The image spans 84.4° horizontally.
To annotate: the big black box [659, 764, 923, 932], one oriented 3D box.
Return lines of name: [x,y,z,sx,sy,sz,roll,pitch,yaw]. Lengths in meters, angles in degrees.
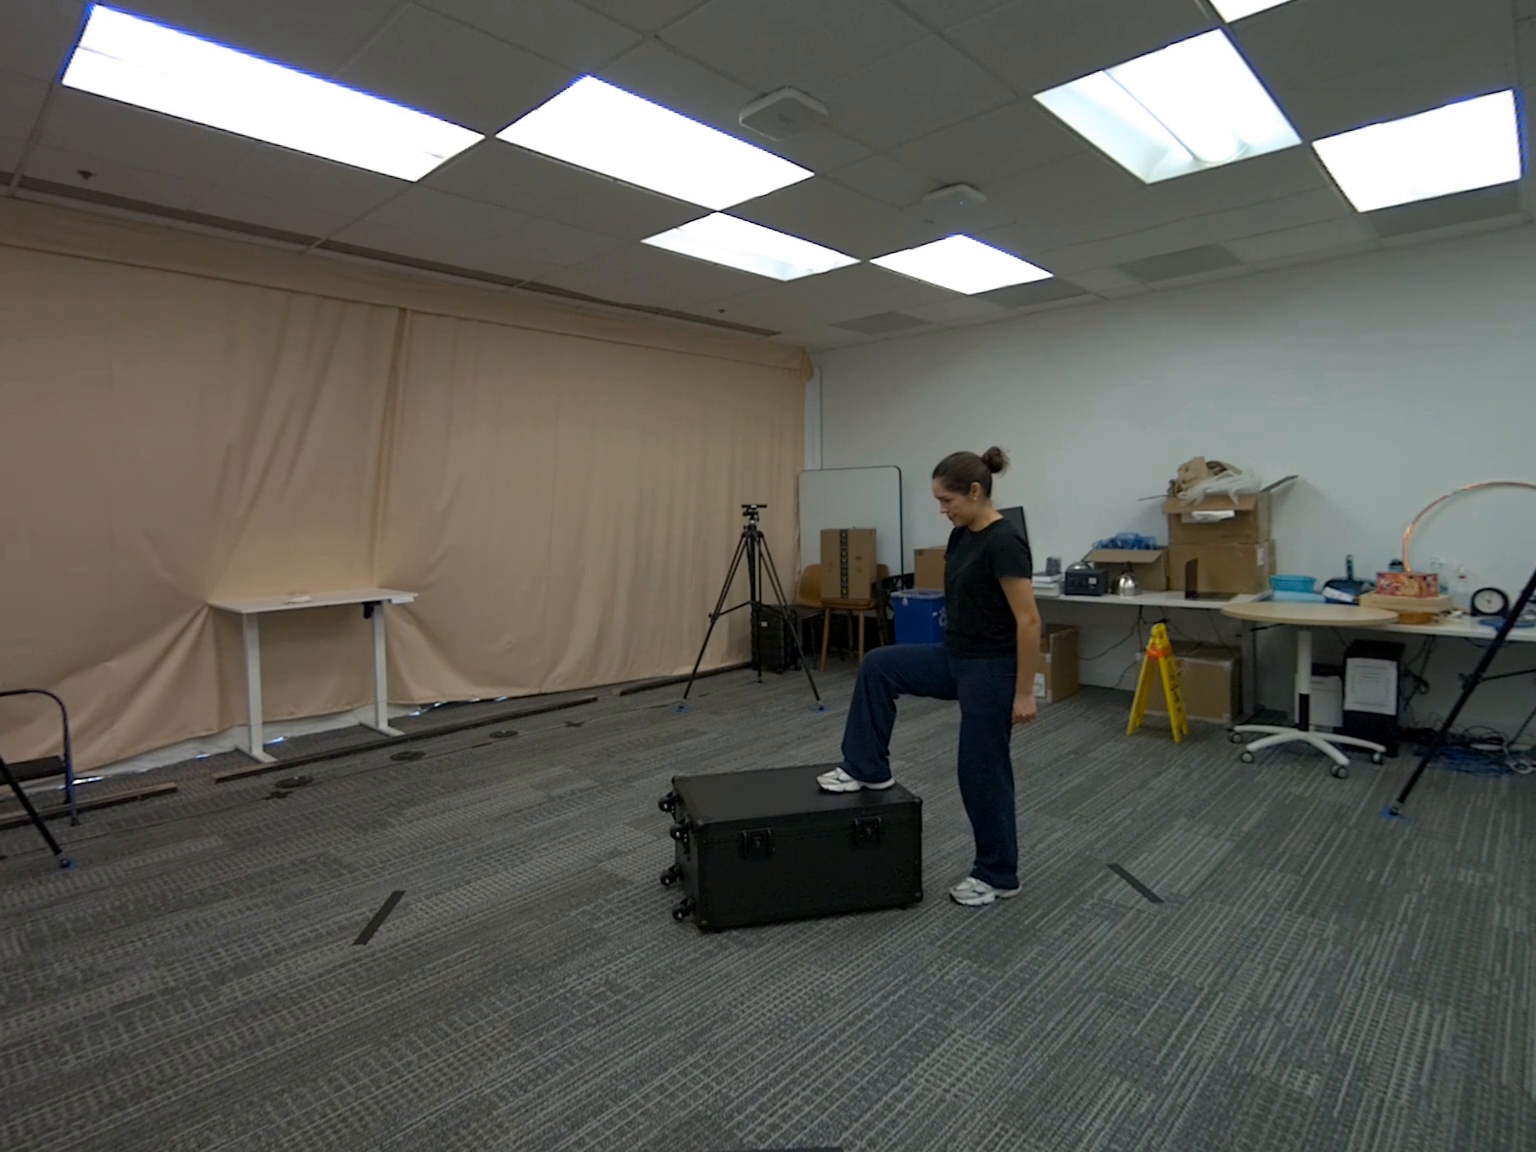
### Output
big black box: [0.068,0.942,3.017,0.849,0.395,0.530,-2,4,-14]
